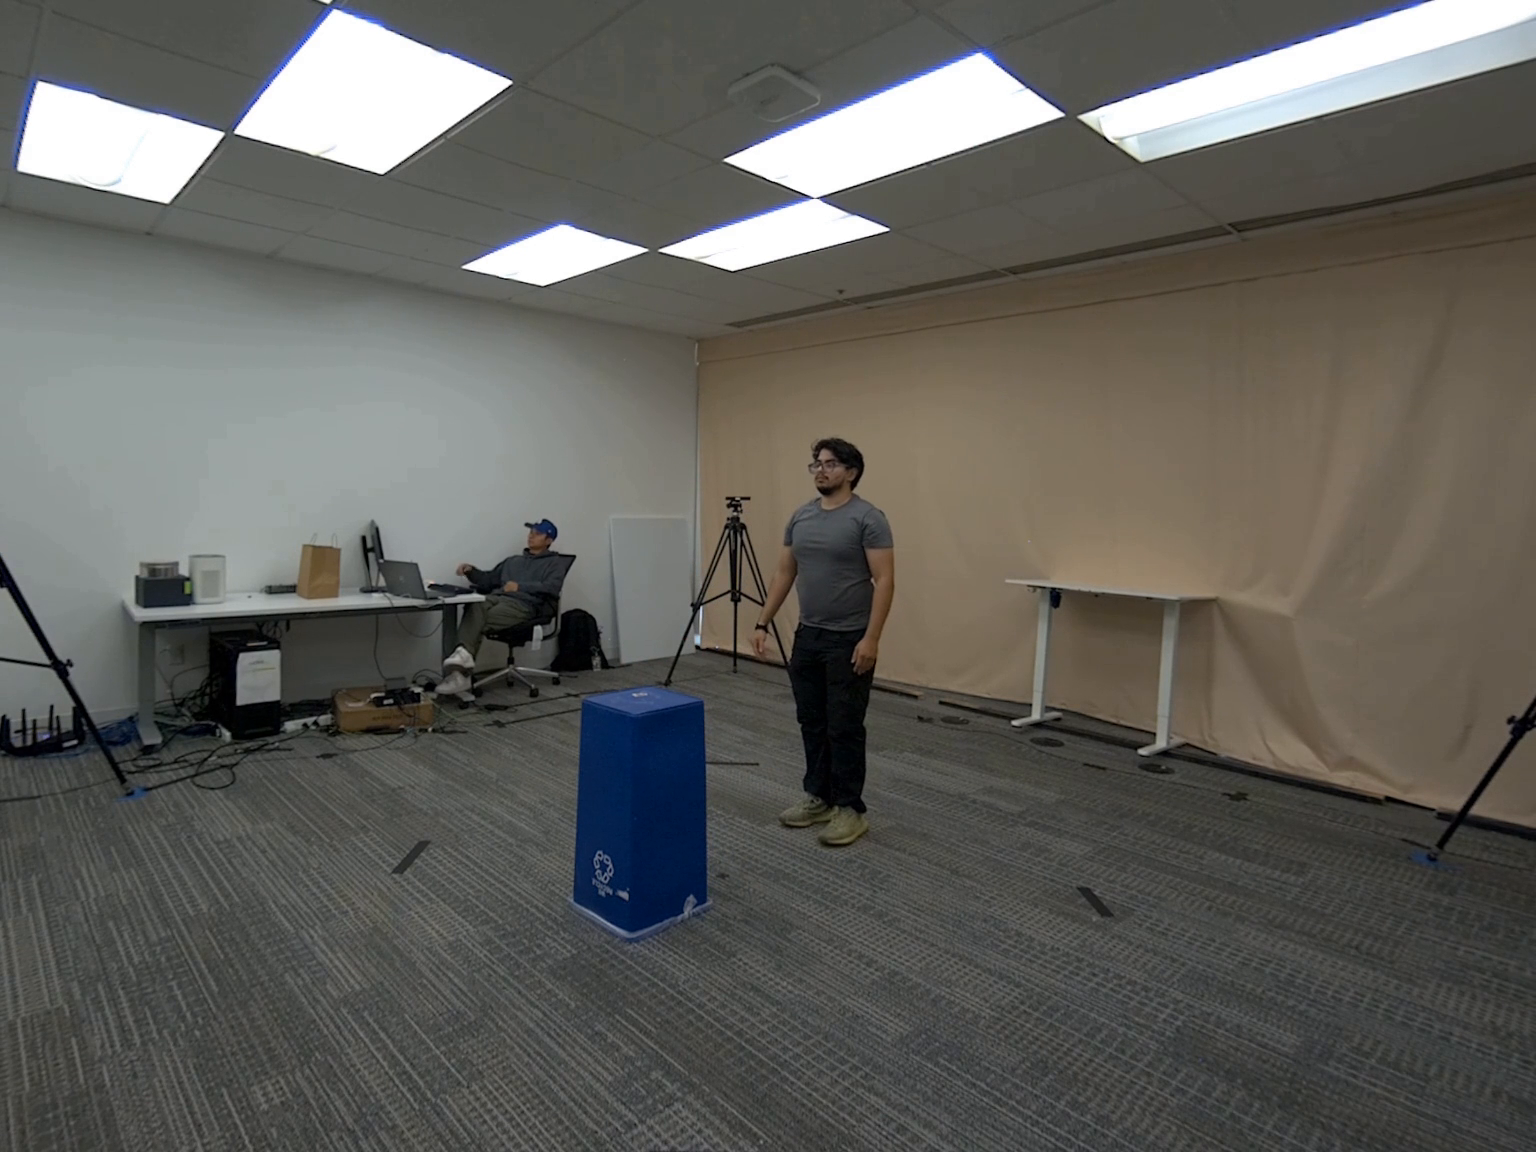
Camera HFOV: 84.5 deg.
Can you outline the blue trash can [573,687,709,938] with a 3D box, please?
[{"bbox_3d":[-0.438,0.770,2.857,0.383,0.712,0.369,3,3,45],"label":"blue trash can"}]
